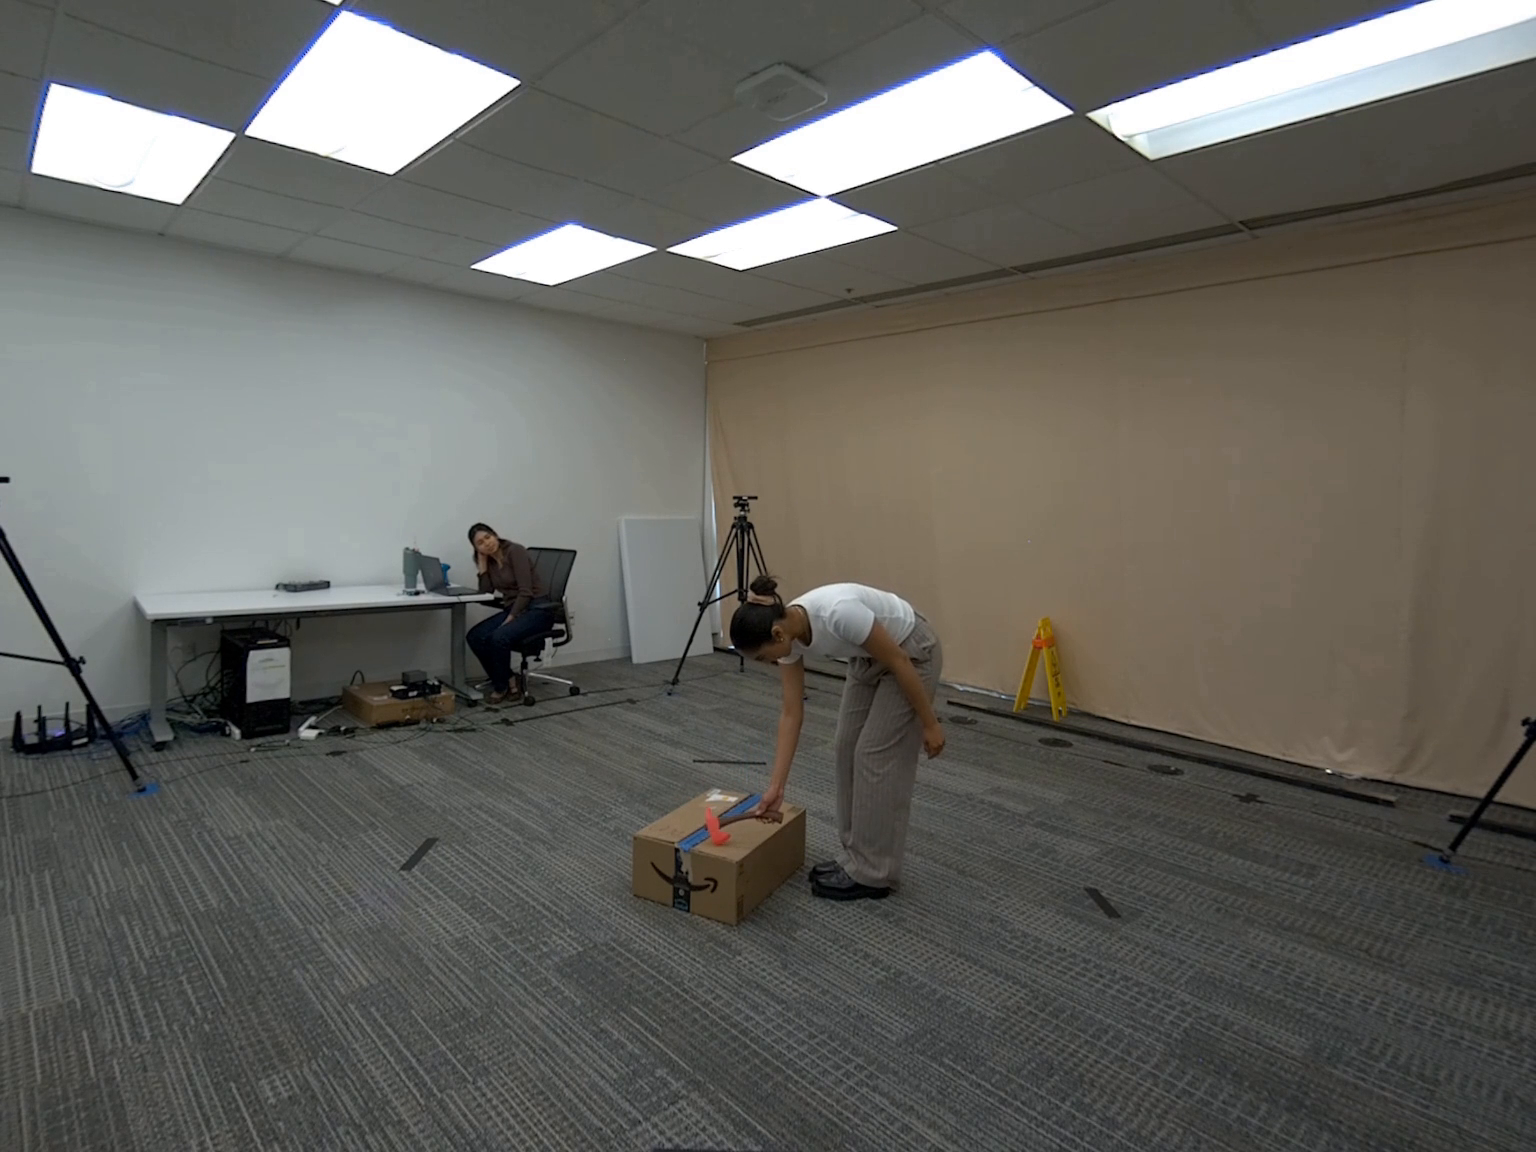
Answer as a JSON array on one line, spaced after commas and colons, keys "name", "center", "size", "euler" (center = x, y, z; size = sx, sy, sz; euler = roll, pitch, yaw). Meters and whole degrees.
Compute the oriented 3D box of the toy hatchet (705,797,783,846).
[{"name": "toy hatchet", "center": [-0.081, 0.852, 2.864], "size": [0.270, 0.133, 0.029], "euler": [1, -34, 2]}]
